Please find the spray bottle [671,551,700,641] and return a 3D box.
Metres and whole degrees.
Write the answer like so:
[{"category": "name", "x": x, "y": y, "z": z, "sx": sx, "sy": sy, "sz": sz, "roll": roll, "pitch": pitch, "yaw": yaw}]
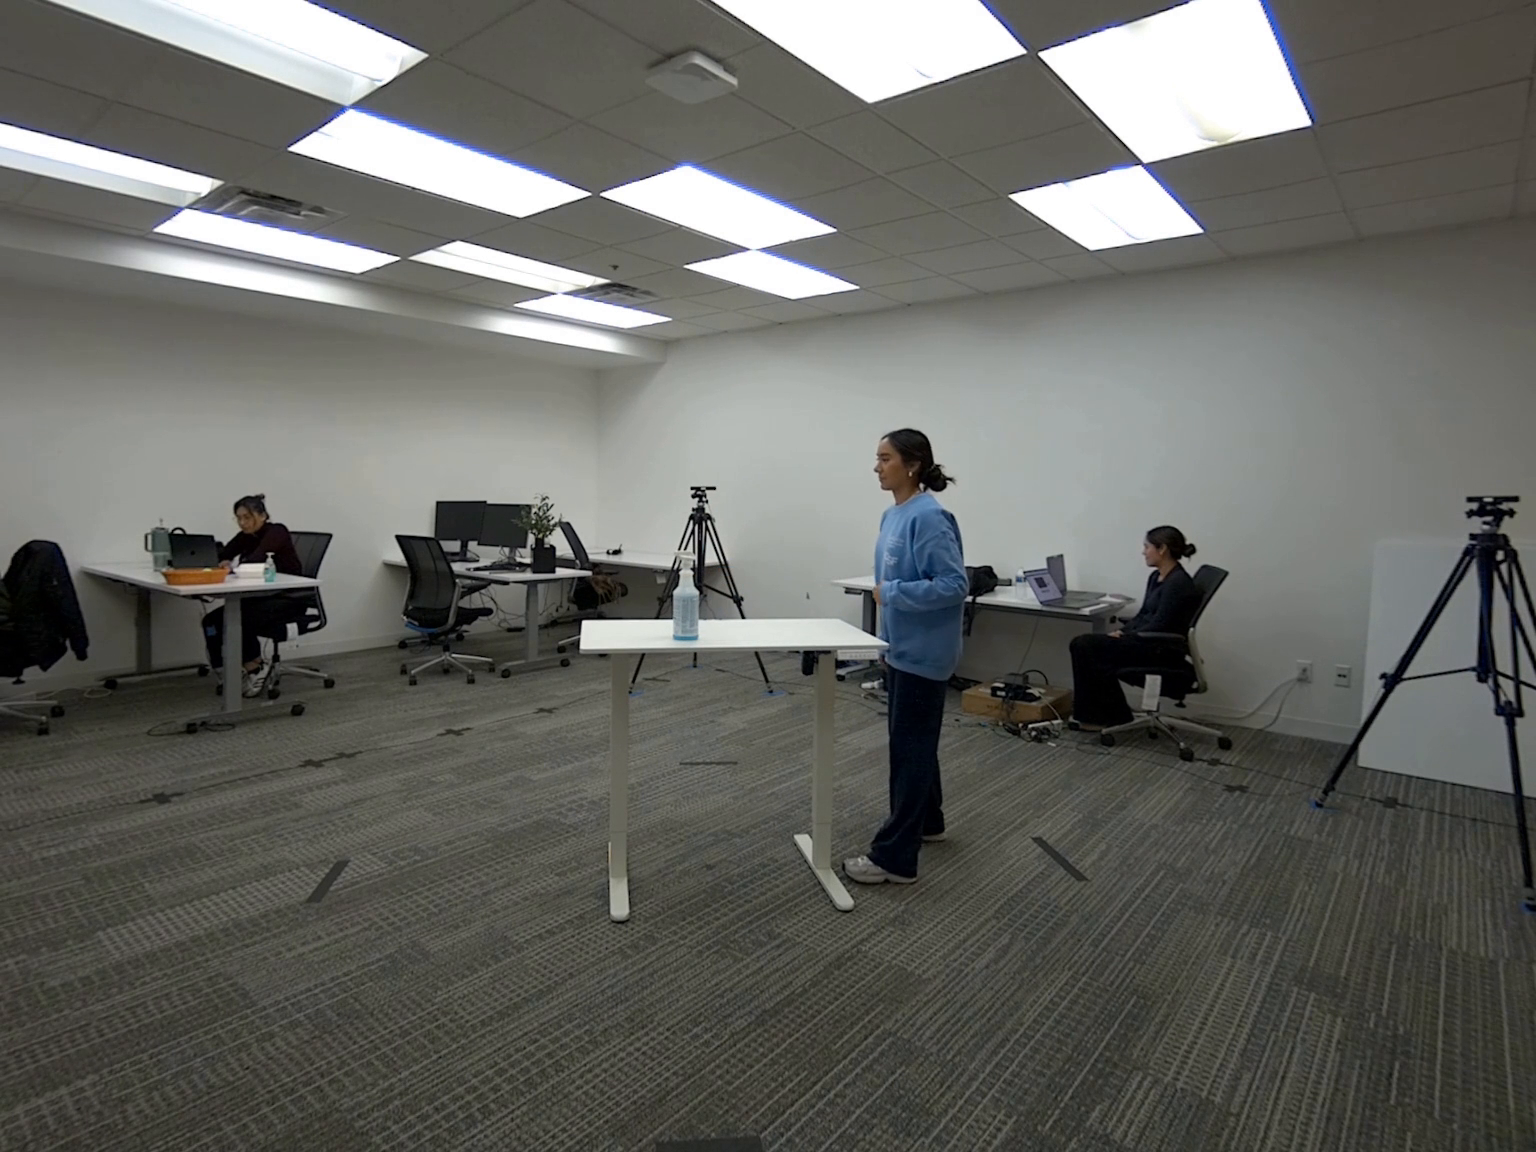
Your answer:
[{"category": "spray bottle", "x": -0.284, "y": 0.063, "z": 2.838, "sx": 0.088, "sy": 0.297, "sz": 0.089, "roll": 0, "pitch": 2, "yaw": -20}]
